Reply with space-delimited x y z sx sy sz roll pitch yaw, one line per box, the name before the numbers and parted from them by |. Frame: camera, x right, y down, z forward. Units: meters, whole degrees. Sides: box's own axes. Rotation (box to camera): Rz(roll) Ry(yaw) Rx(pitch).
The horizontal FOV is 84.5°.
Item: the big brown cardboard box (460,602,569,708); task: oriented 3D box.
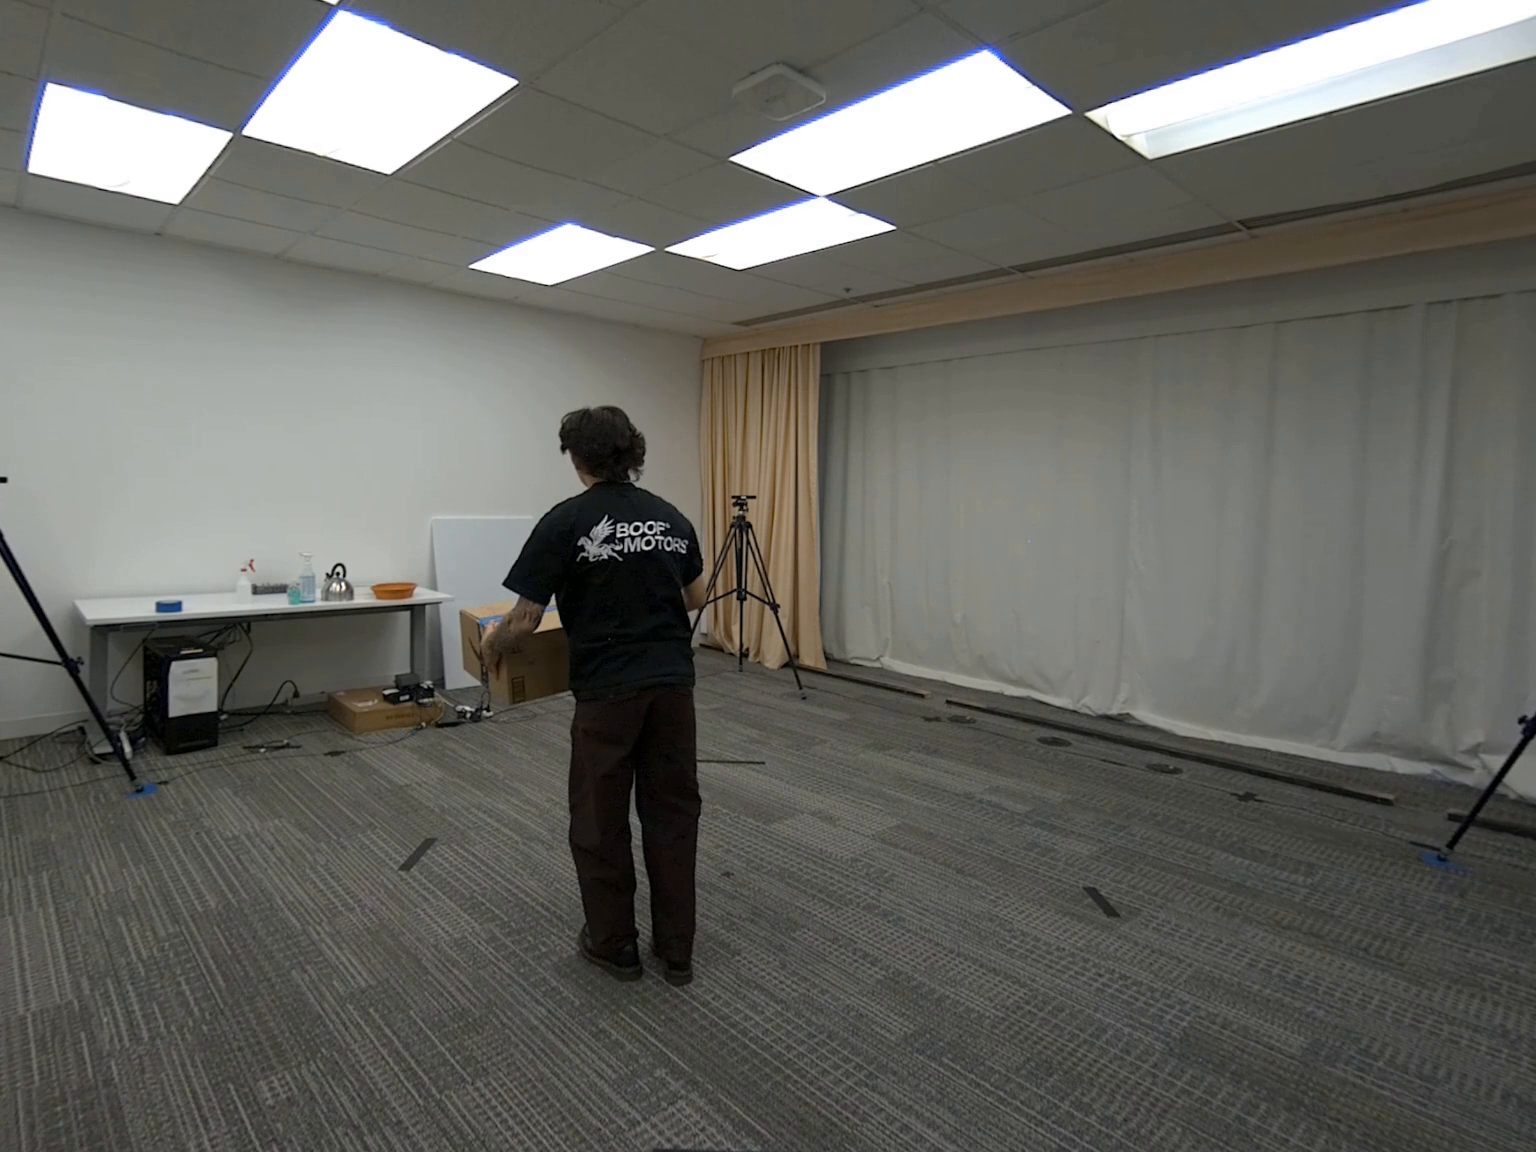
big brown cardboard box | -0.684 0.220 2.830 0.578 0.231 0.429 -11 16 -37
